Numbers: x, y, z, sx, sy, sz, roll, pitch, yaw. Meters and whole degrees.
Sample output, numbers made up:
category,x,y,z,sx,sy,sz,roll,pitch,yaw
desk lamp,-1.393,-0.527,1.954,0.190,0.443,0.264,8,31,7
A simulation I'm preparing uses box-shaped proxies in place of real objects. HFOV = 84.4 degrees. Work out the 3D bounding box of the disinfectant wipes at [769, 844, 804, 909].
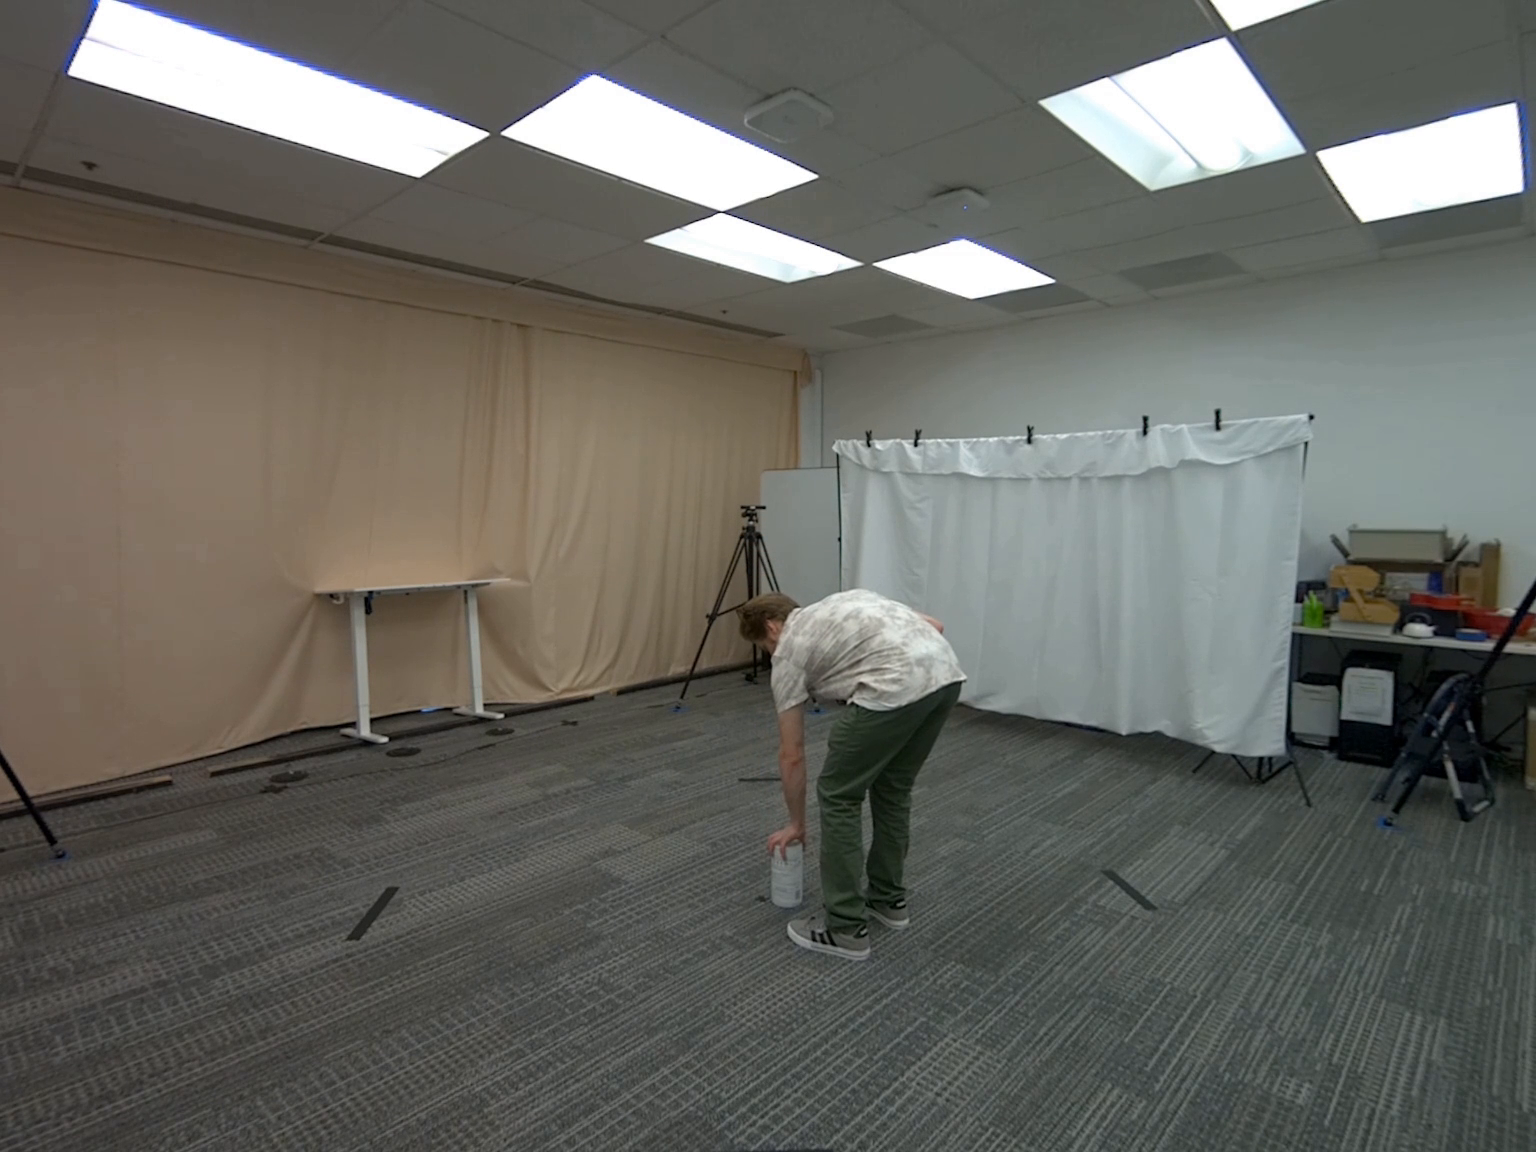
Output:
category,x,y,z,sx,sy,sz,roll,pitch,yaw
disinfectant wipes,0.076,1.044,2.955,0.118,0.217,0.118,0,3,-2
